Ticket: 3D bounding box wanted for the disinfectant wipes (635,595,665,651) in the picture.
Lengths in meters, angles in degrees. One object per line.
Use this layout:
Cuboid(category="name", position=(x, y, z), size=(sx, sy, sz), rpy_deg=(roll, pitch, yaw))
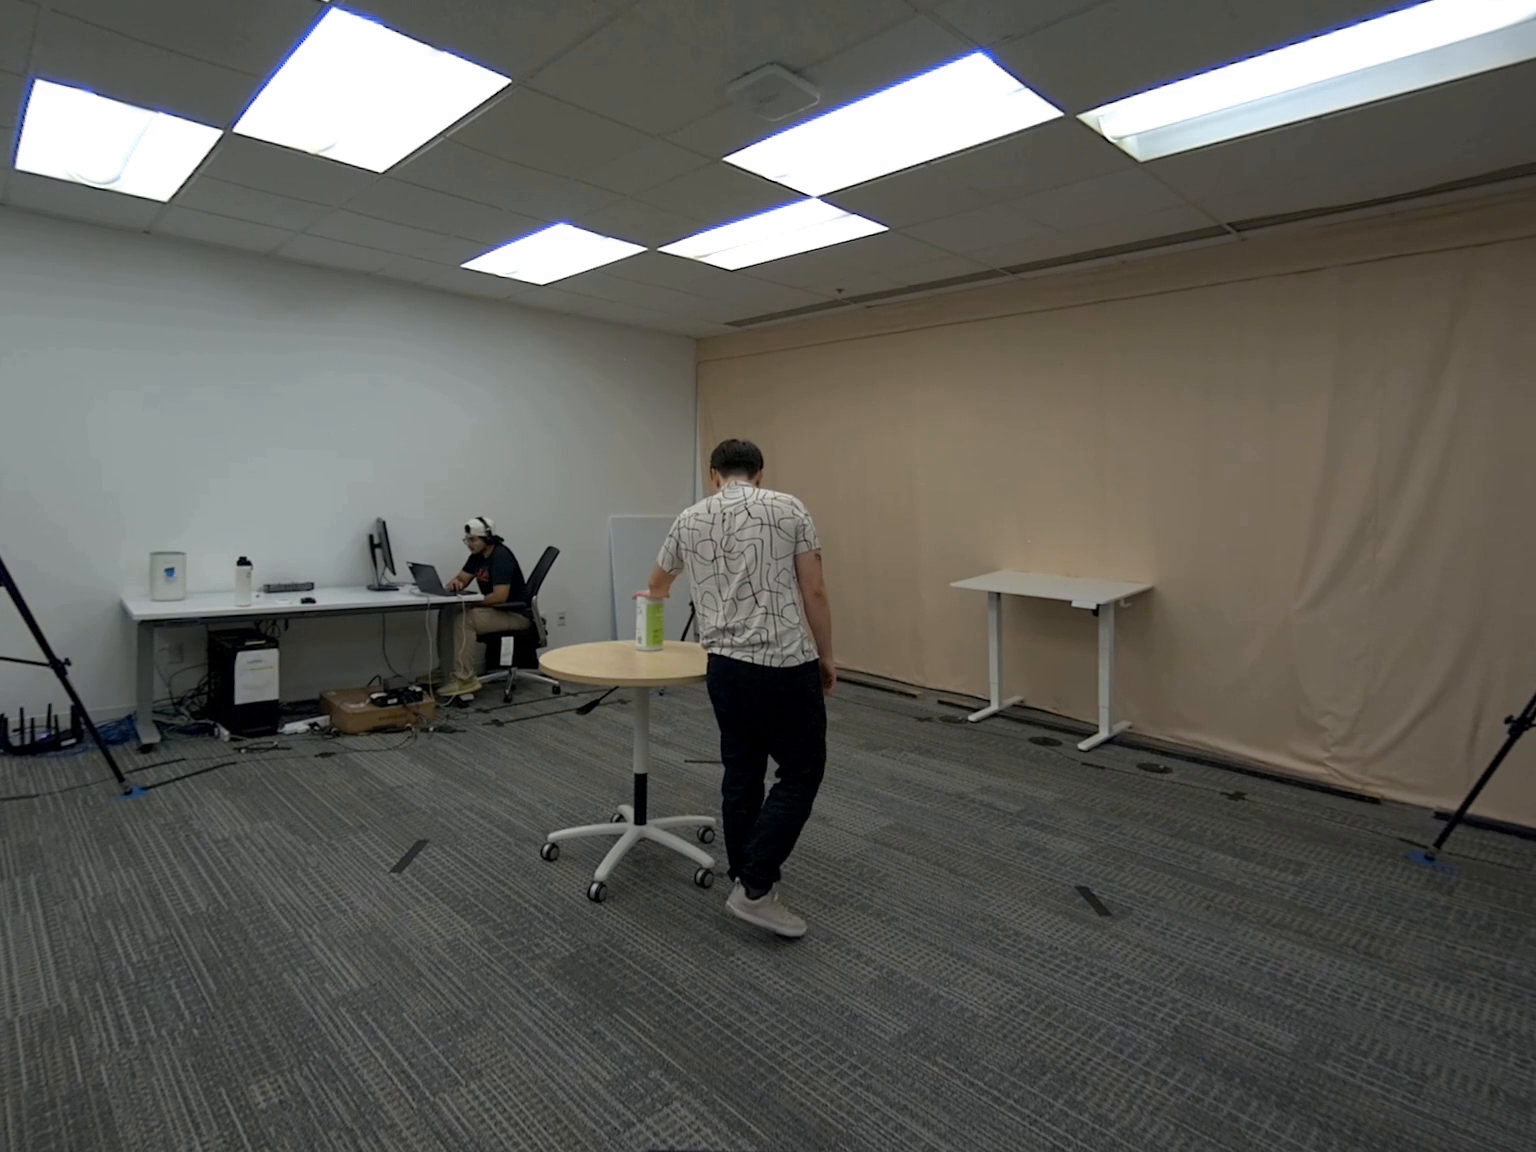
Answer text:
Cuboid(category="disinfectant wipes", position=(-0.481, 0.188, 3.347), size=(0.118, 0.217, 0.118), rpy_deg=(2, 5, -2))
